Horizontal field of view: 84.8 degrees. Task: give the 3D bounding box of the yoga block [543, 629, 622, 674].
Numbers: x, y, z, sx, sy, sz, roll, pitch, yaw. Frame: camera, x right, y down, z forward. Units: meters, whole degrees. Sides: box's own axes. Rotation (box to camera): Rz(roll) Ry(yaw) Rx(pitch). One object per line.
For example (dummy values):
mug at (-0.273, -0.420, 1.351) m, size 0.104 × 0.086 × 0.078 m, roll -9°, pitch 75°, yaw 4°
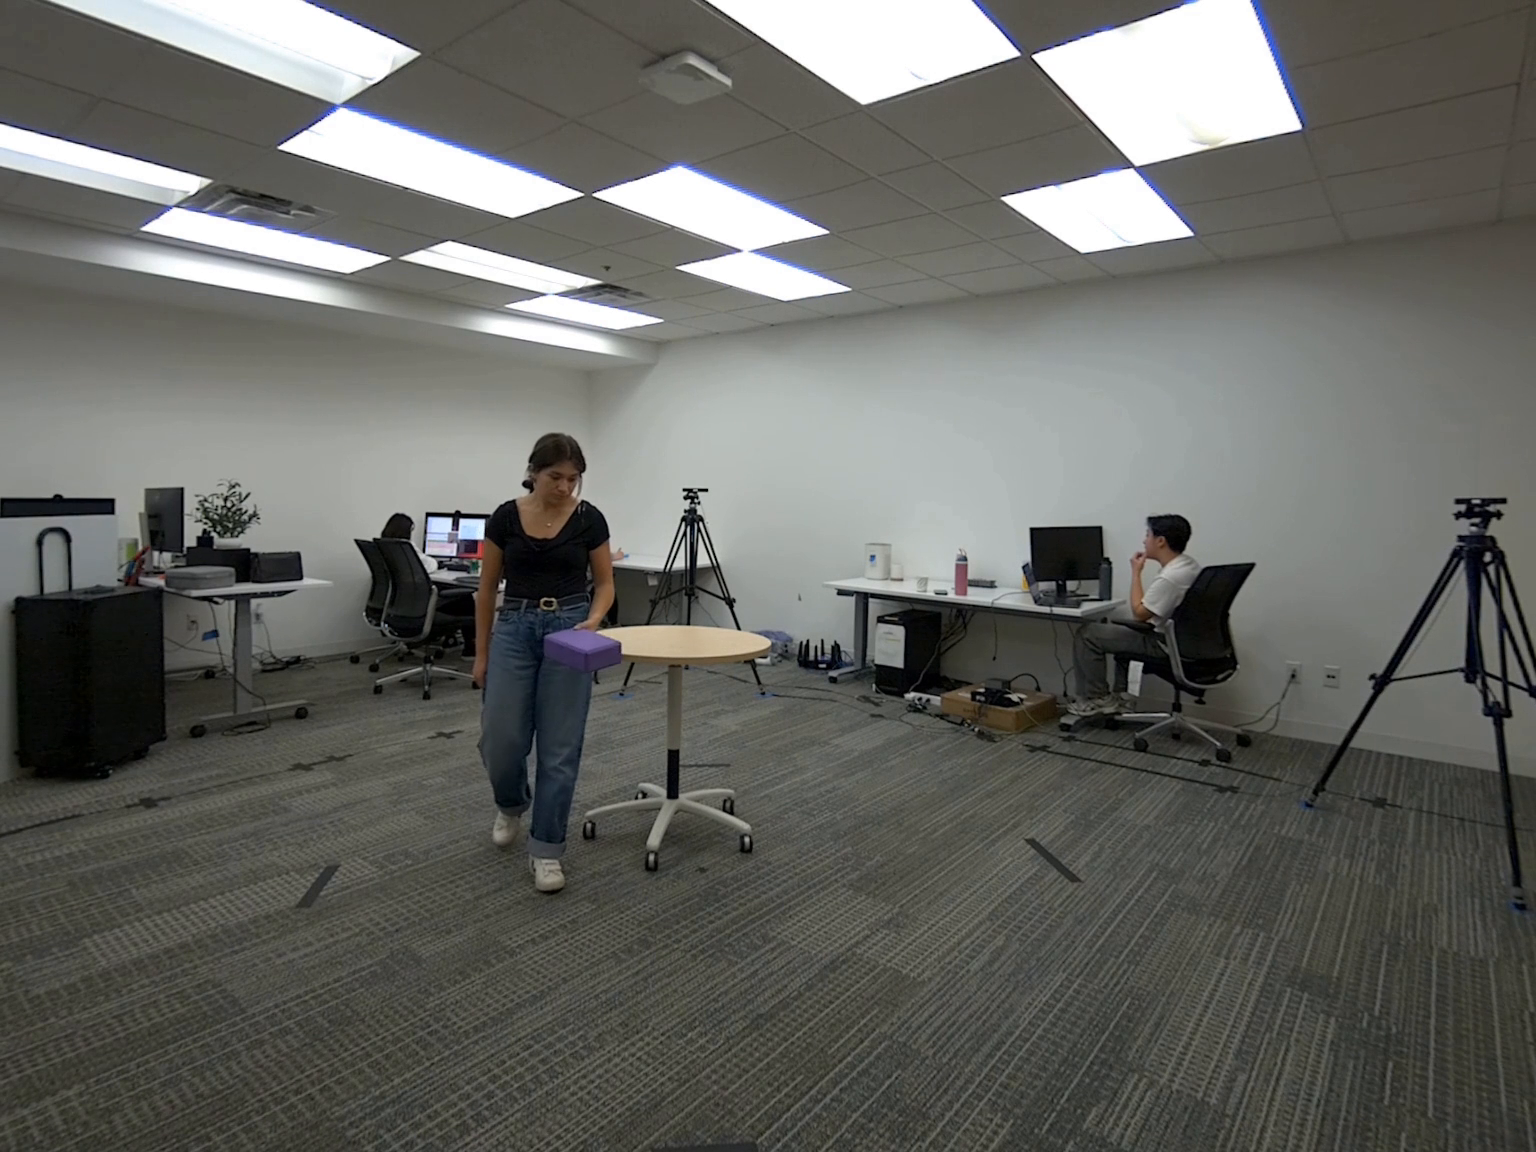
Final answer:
yoga block at (-0.603, 0.235, 2.739) m, size 0.237 × 0.075 × 0.145 m, roll 11°, pitch 15°, yaw 36°
